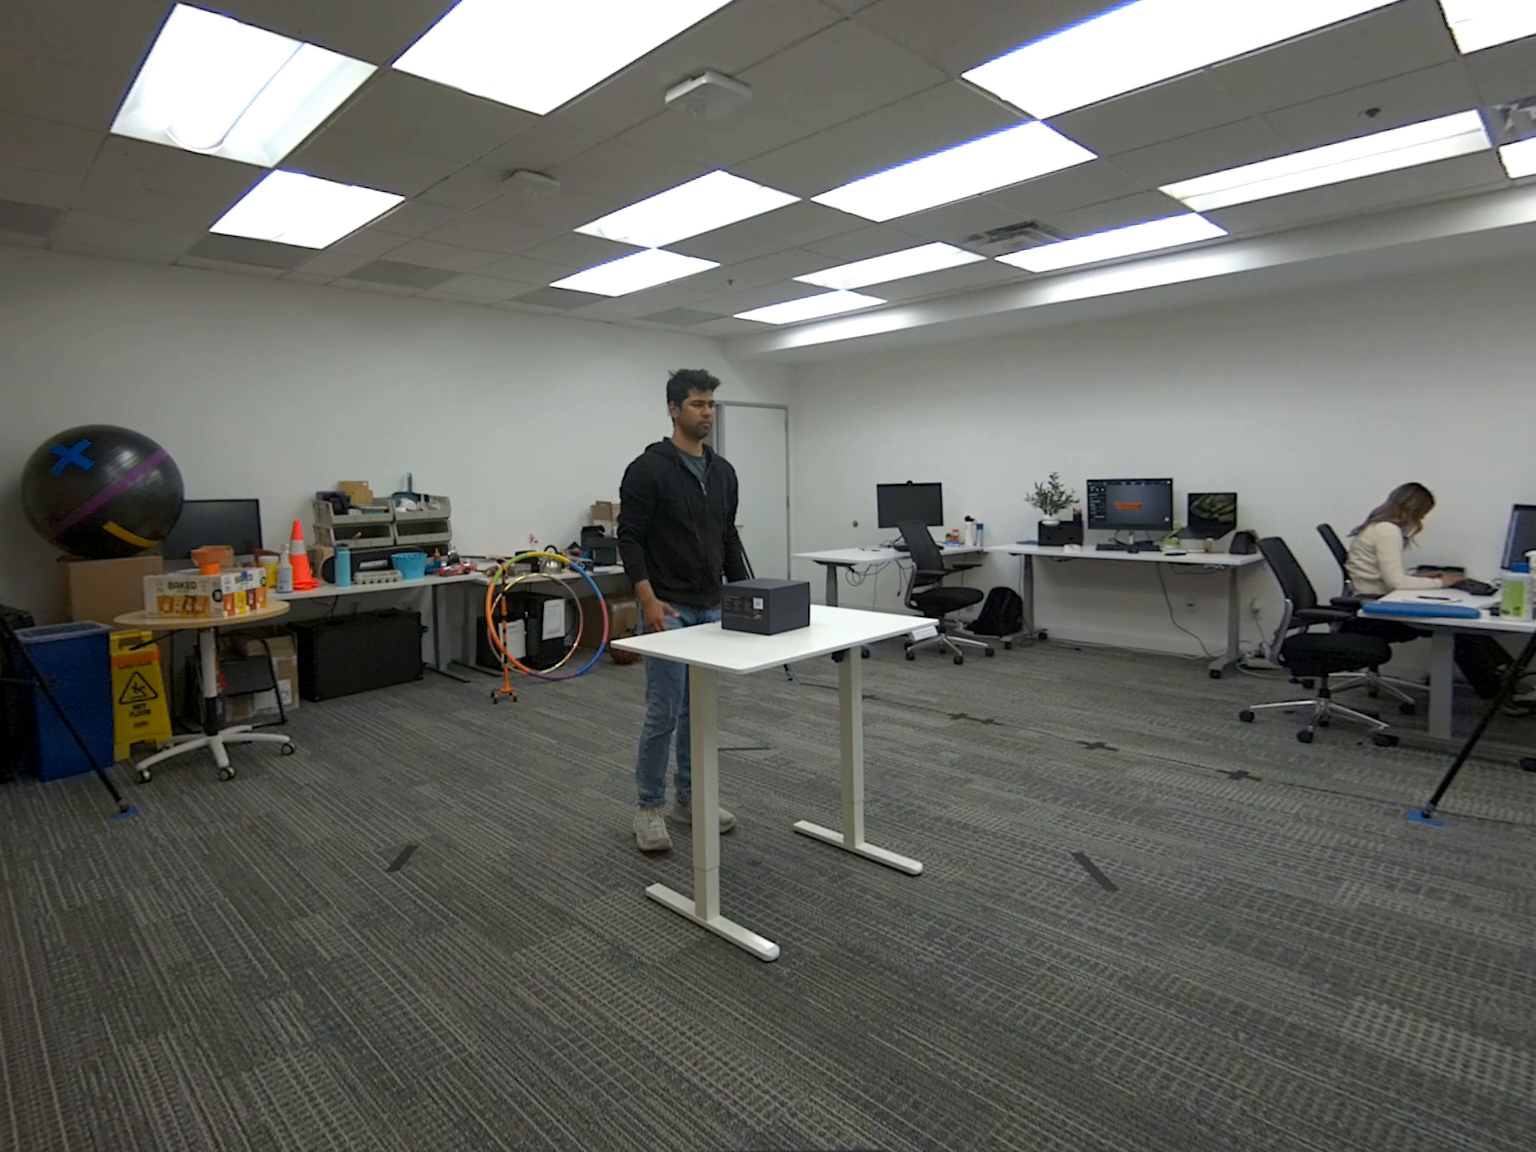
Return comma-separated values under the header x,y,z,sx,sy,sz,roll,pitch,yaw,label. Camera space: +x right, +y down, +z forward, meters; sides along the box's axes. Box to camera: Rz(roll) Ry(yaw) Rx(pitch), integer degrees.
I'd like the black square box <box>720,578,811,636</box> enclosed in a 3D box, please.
x,y,z,sx,sy,sz,roll,pitch,yaw,label
-0.009,0.100,2.943,0.223,0.155,0.222,3,7,40,black square box
